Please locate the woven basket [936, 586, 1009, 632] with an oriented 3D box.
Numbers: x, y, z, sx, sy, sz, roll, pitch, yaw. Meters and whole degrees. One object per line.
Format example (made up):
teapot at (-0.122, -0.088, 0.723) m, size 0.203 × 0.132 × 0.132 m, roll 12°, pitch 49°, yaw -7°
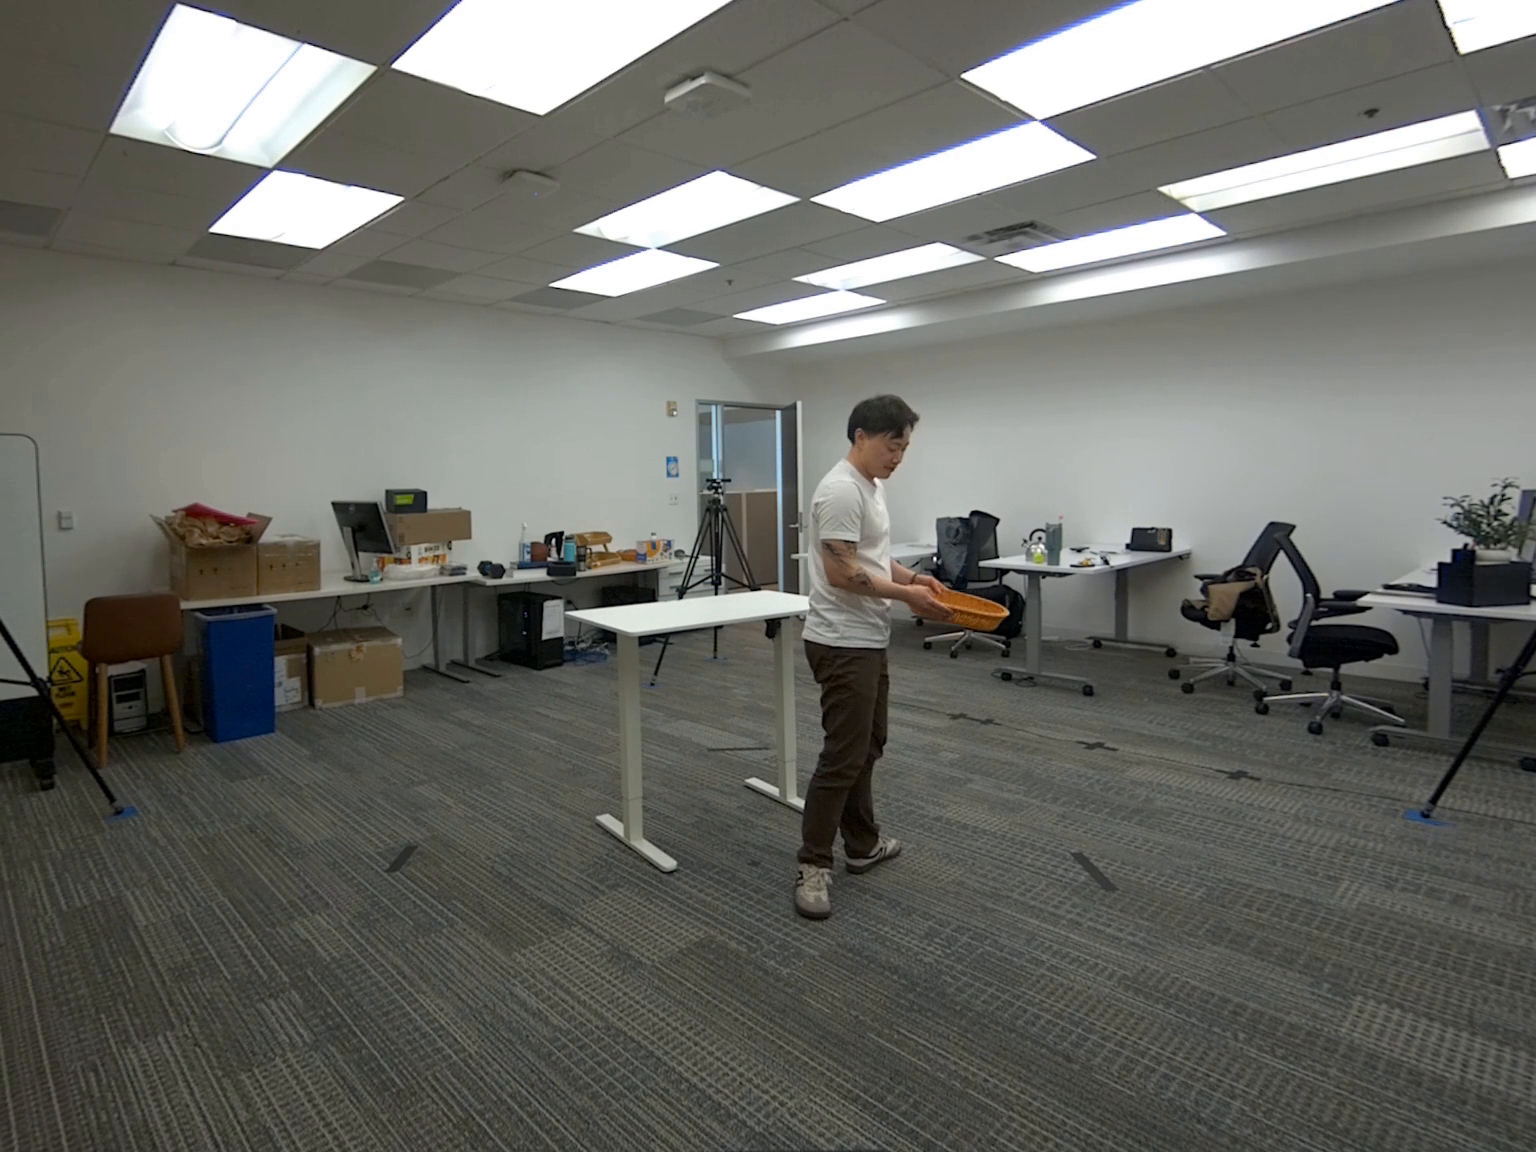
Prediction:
woven basket at (0.626, 0.116, 2.861) m, size 0.355 × 0.073 × 0.251 m, roll 13°, pitch 15°, yaw 11°
